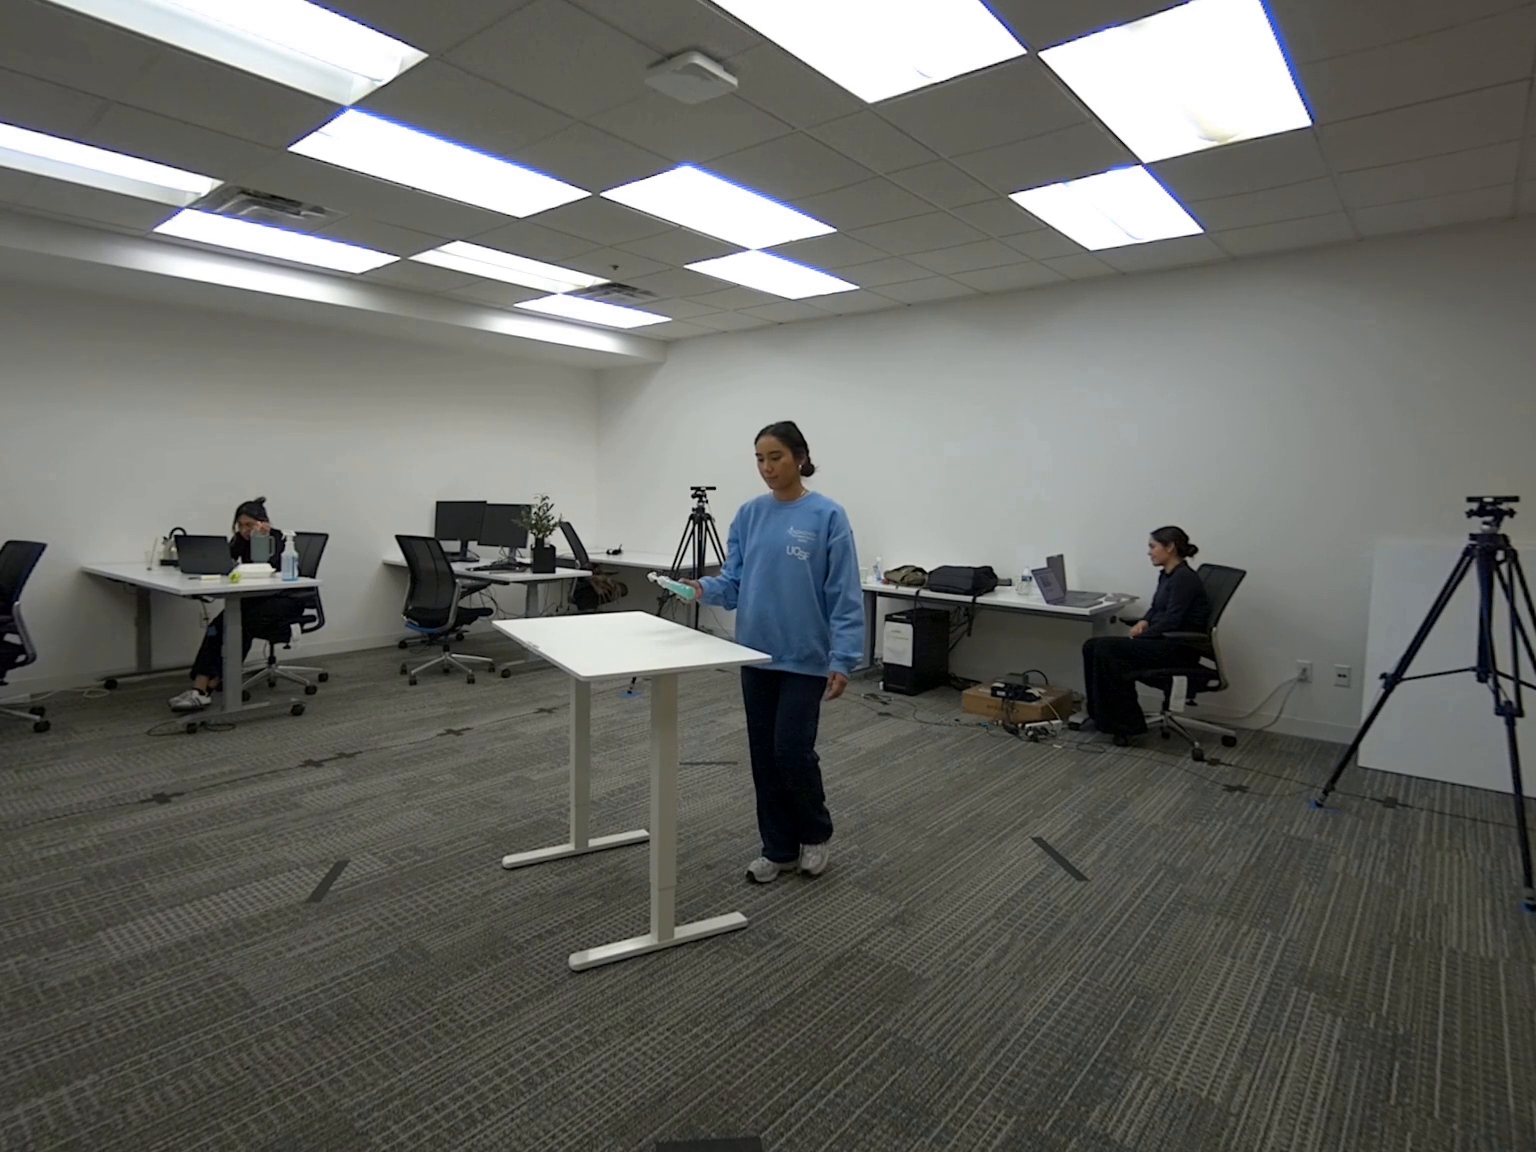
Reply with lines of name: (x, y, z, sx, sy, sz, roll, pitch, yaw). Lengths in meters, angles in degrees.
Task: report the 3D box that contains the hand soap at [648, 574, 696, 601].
hand soap: (-0.336, 0.029, 2.946, 0.169, 0.043, 0.084, 22, 4, 5)
